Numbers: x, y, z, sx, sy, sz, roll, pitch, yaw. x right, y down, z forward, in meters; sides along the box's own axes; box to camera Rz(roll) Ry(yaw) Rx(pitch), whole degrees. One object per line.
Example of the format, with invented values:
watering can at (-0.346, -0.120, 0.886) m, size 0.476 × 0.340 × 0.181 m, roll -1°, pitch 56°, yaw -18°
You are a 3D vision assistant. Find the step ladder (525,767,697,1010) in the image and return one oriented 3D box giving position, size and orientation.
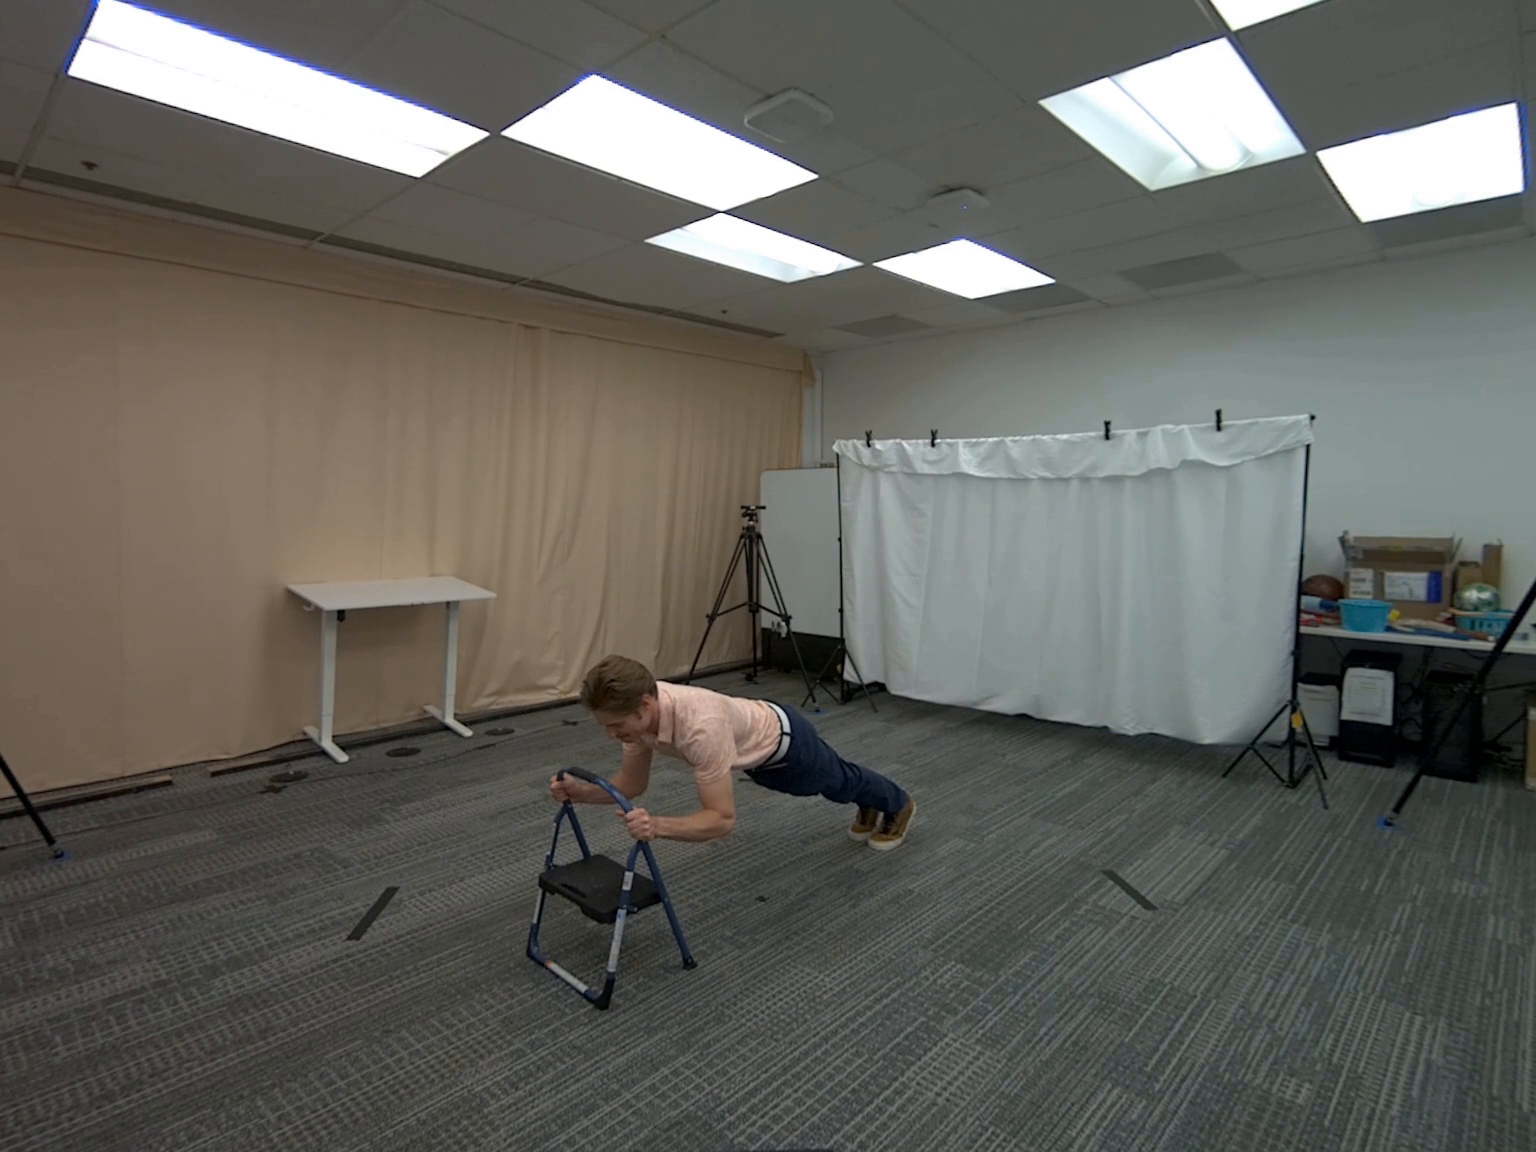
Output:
step ladder at (-0.488, 0.883, 2.565) m, size 0.445 × 0.605 × 0.338 m, roll 3°, pitch 5°, yaw 44°
